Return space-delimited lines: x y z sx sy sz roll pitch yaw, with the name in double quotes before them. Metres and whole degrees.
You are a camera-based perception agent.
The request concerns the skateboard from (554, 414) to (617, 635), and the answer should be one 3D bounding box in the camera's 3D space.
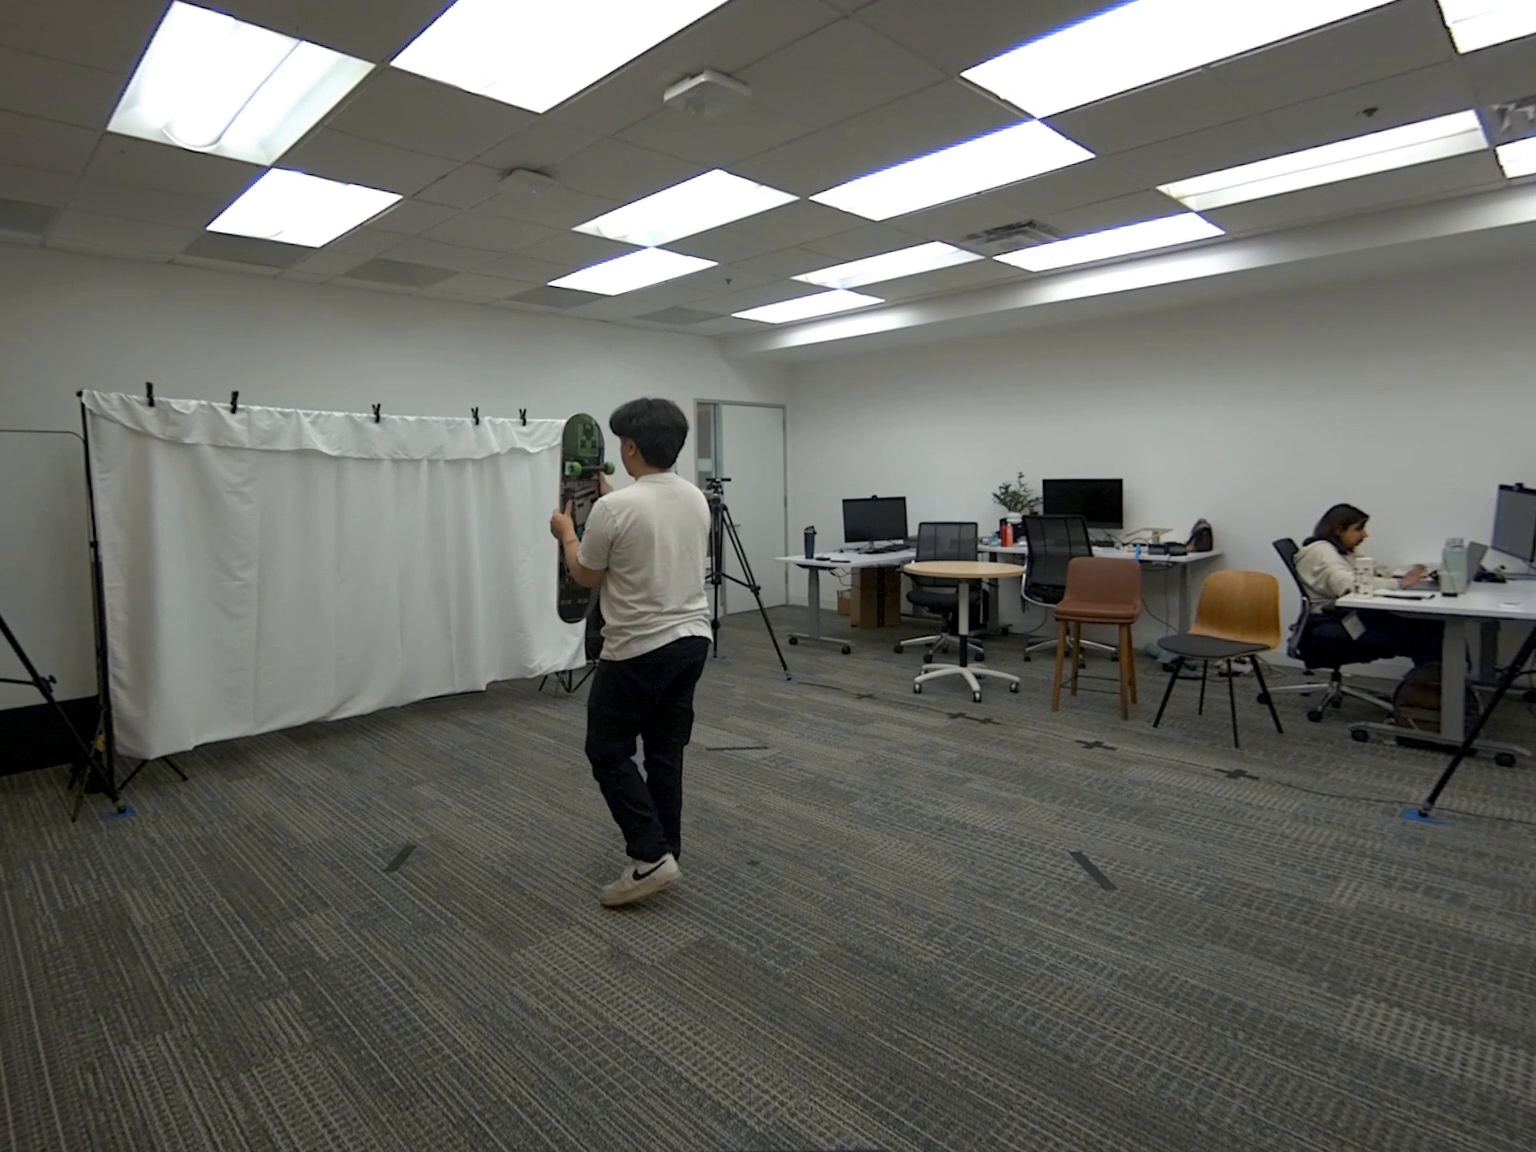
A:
"skateboard" -0.666 -0.196 3.138 0.114 0.778 0.189 10 13 40
